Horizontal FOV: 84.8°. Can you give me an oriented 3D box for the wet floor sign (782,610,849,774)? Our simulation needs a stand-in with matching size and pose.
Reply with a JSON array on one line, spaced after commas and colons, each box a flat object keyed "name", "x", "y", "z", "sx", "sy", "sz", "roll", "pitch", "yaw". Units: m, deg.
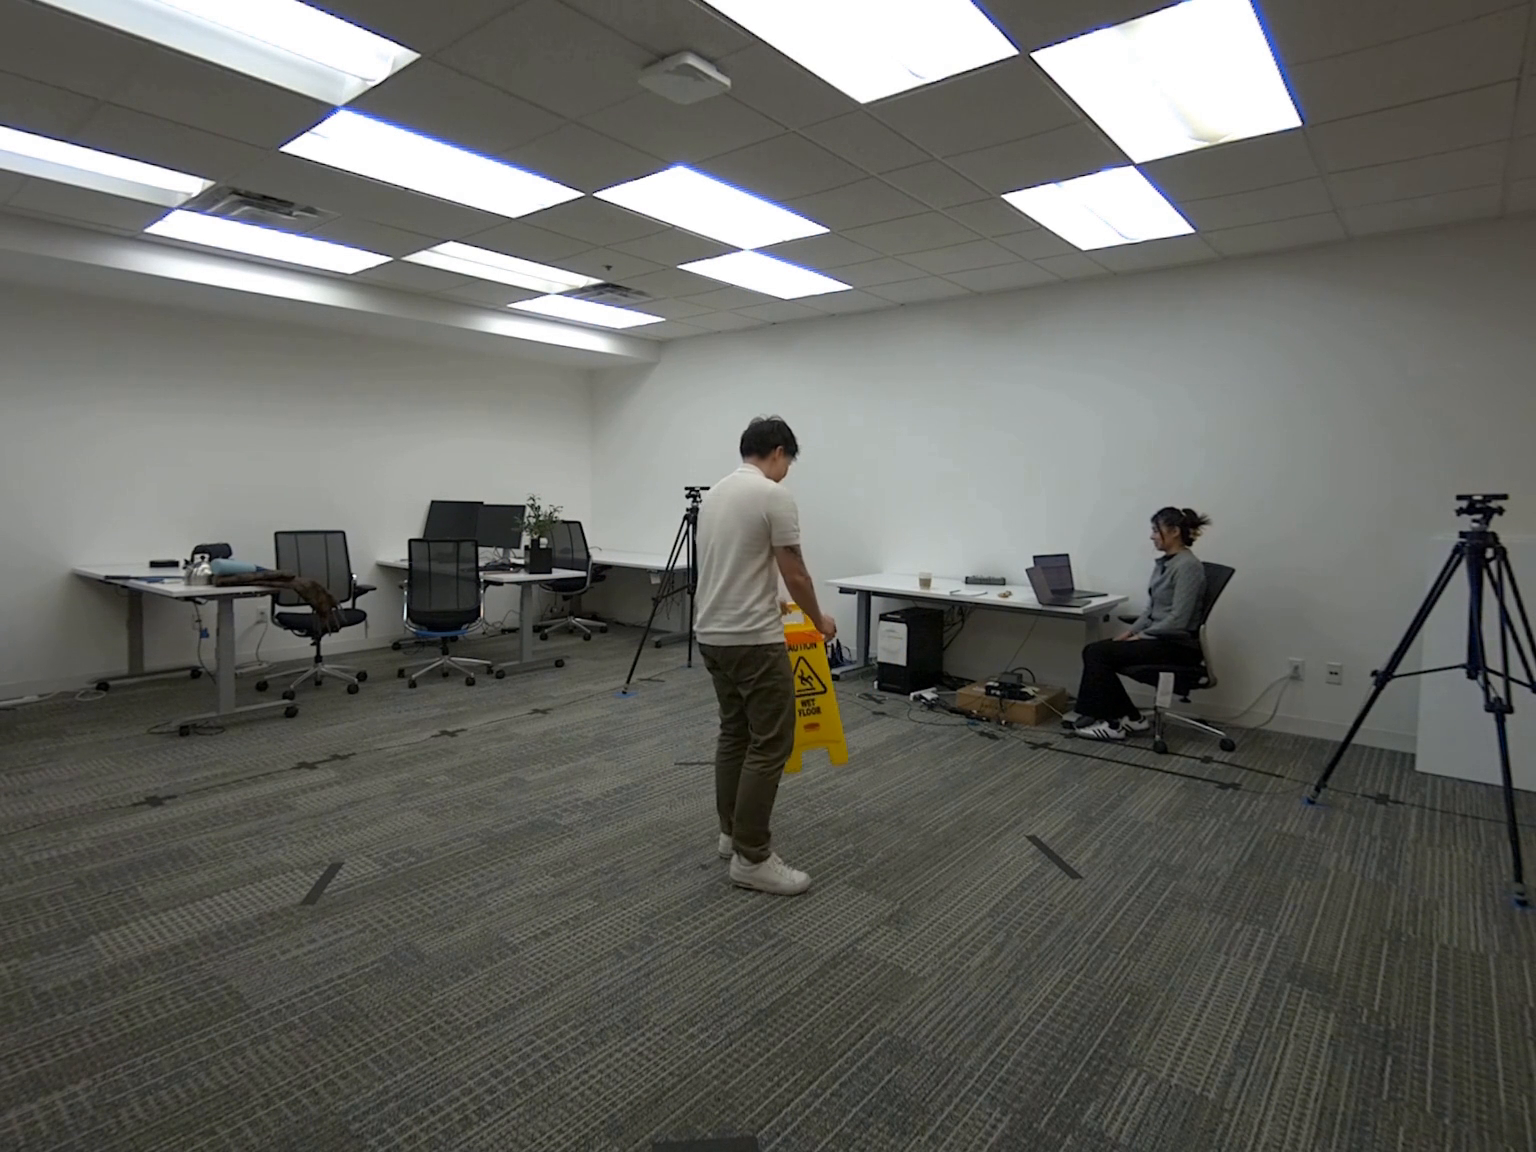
[{"name": "wet floor sign", "x": 0.118, "y": 0.423, "z": 3.503, "sx": 0.278, "sy": 0.643, "sz": 0.295, "roll": -6, "pitch": 4, "yaw": -17}]
